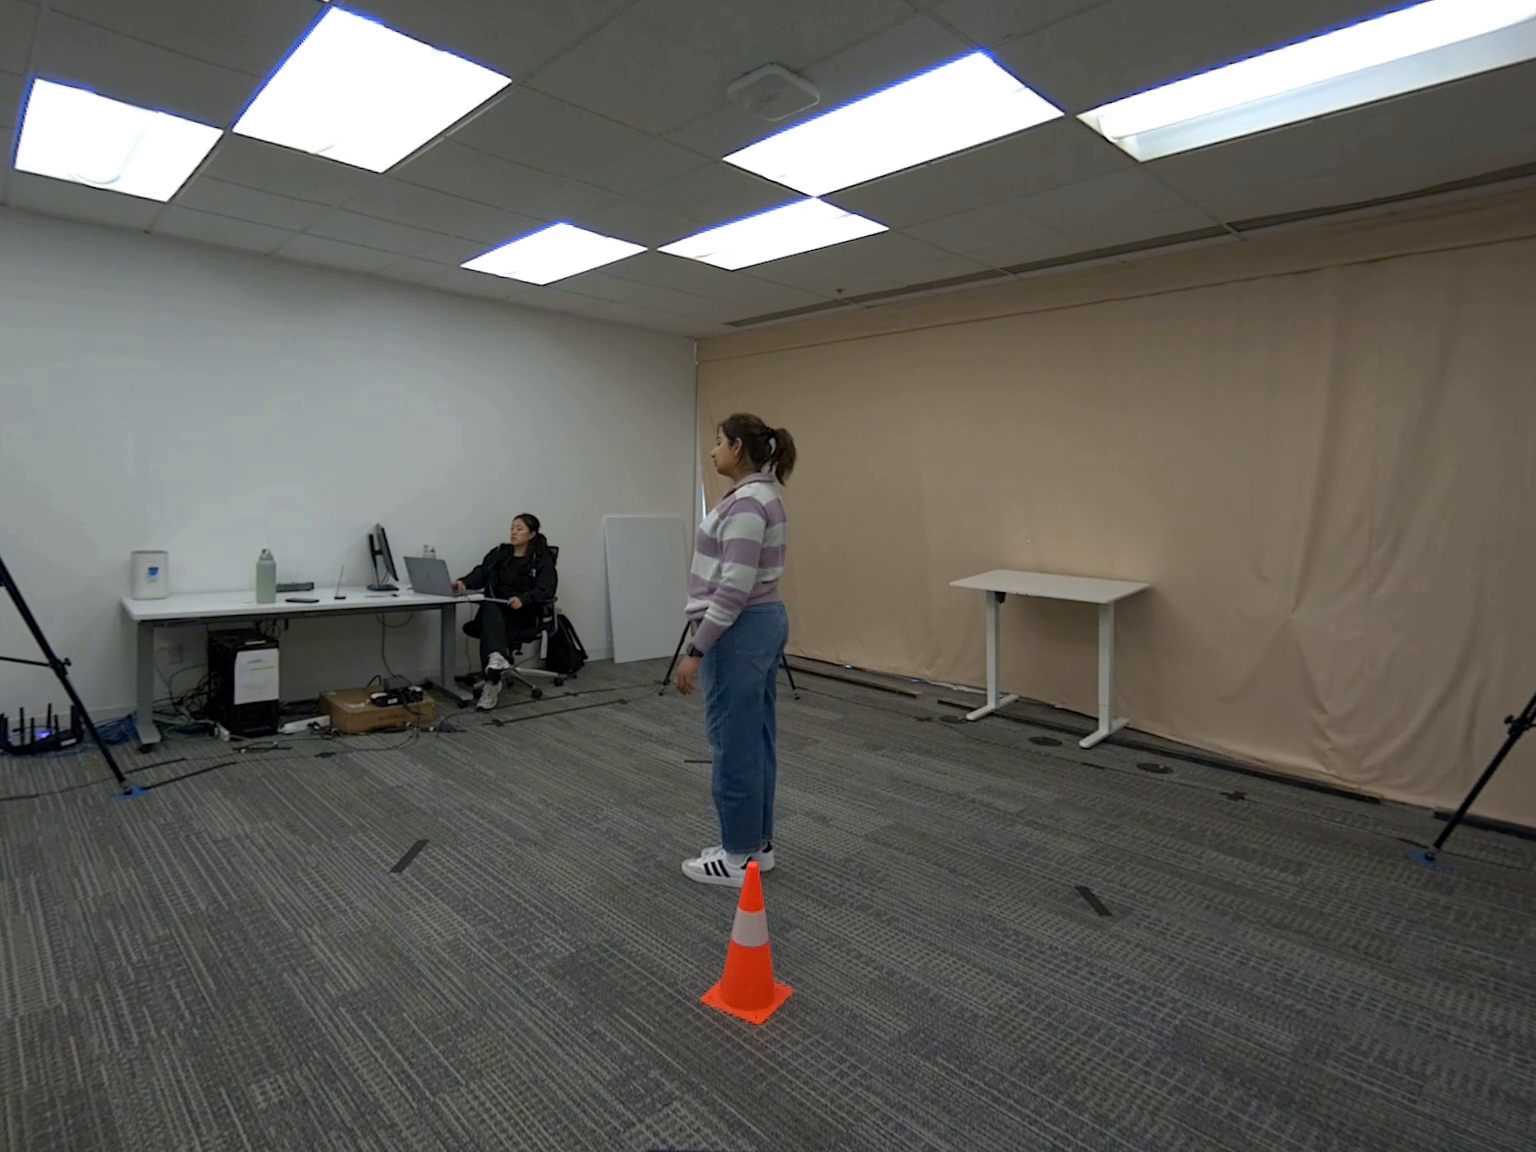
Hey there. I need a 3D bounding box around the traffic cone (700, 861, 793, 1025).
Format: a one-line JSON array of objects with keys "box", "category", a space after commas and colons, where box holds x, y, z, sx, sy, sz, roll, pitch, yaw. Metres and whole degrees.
[{"box": [-0.052, 0.995, 2.344, 0.208, 0.383, 0.200, 6, 4, 33], "category": "traffic cone"}]
